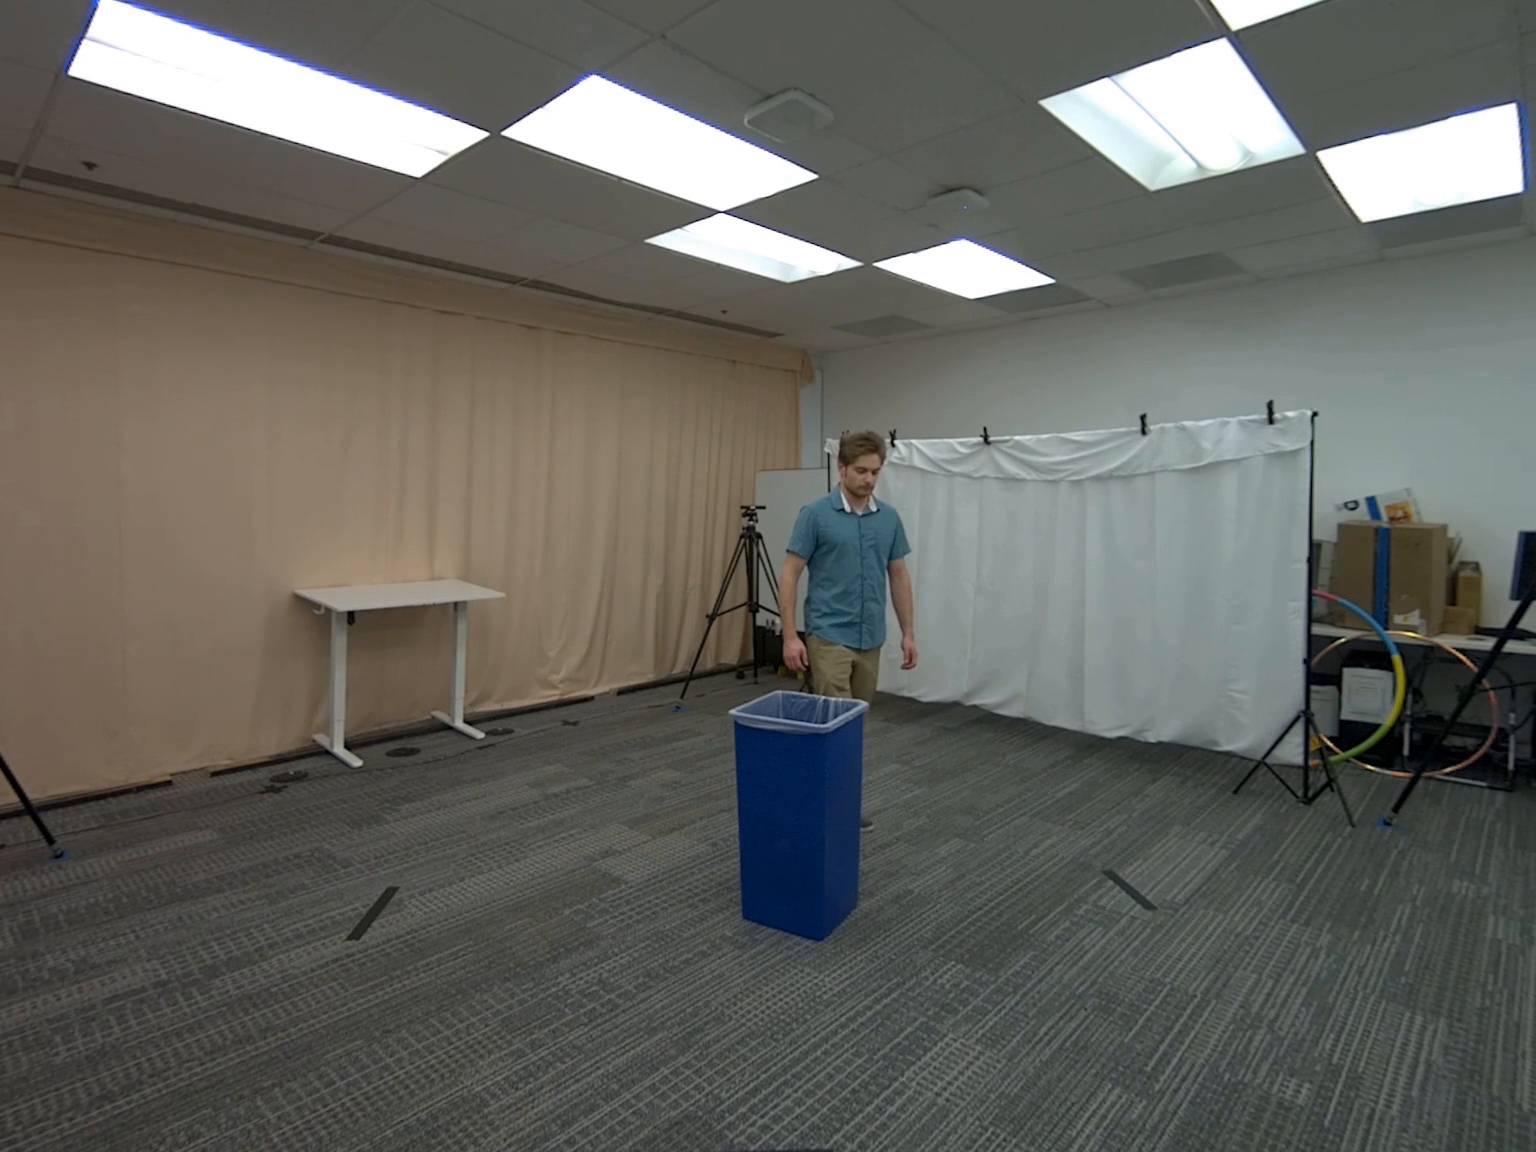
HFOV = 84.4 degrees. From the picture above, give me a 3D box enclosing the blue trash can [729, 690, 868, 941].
[{"bbox_3d":[0.111,0.798,2.859,0.389,0.712,0.364,2,4,30],"label":"blue trash can"}]
